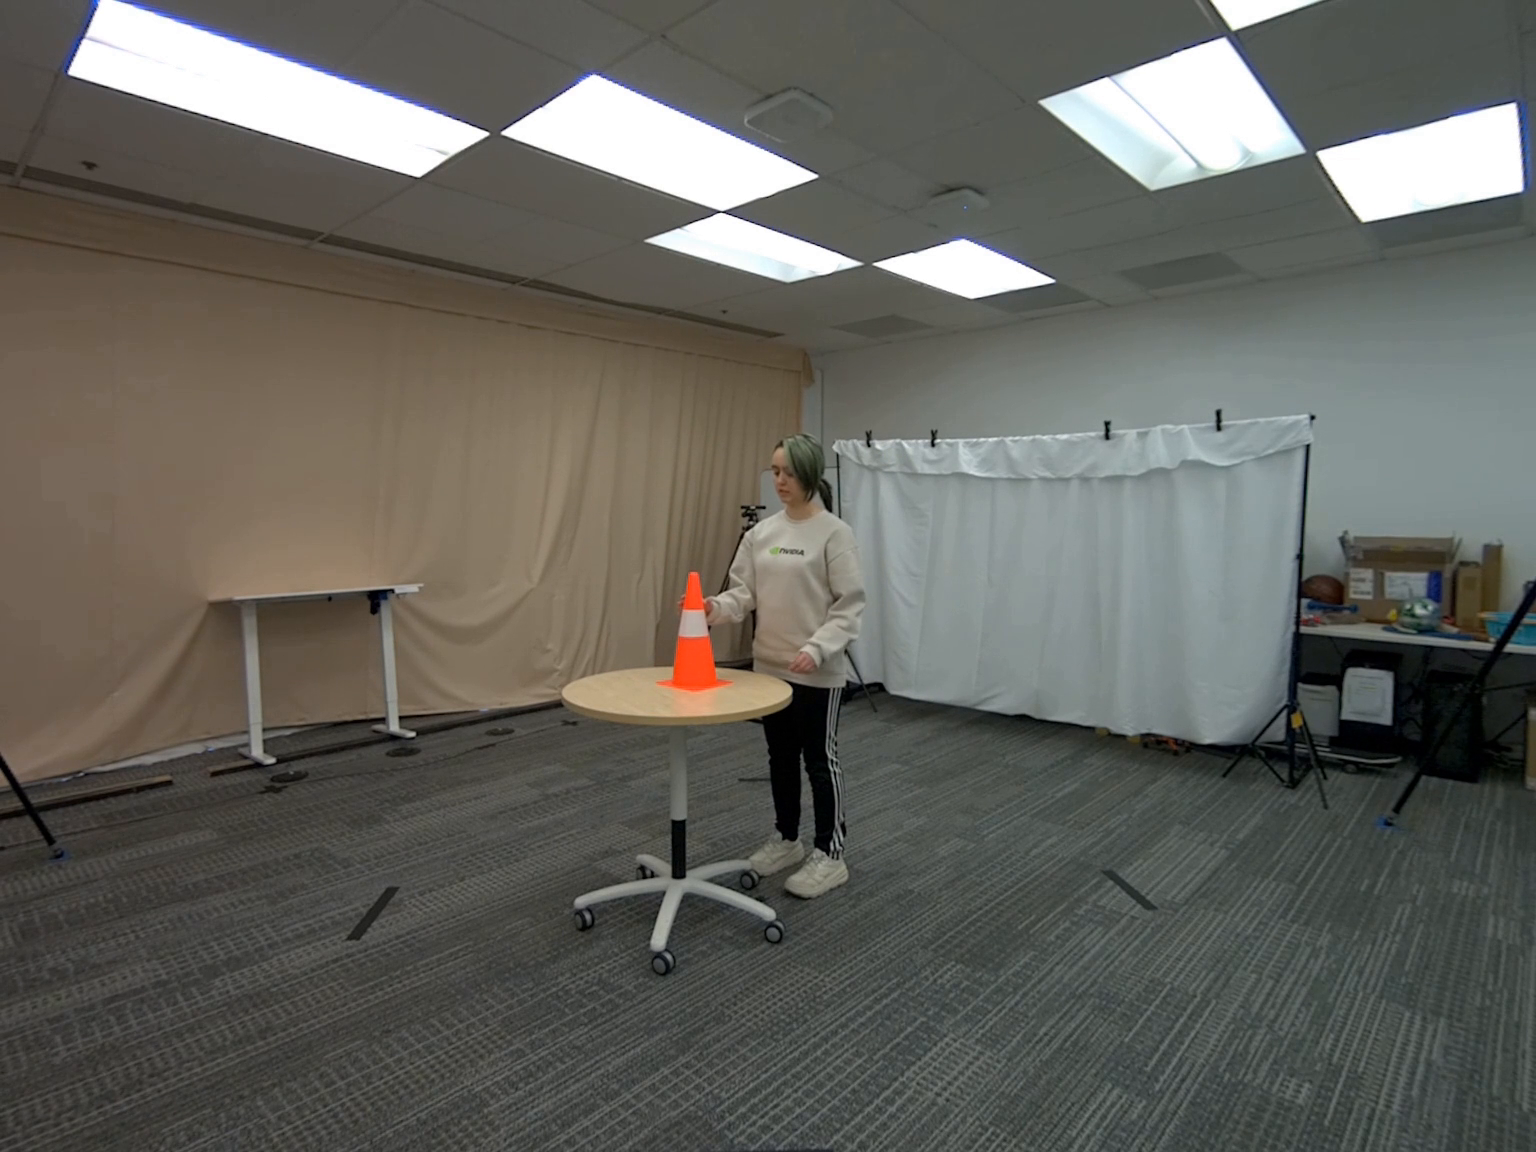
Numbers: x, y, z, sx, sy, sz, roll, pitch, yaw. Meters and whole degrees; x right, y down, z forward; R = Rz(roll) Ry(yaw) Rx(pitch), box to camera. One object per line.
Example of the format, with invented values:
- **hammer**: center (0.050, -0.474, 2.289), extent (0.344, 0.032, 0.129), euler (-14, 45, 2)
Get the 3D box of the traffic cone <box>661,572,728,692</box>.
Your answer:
- **traffic cone**: center (-0.254, 0.184, 2.898), extent (0.211, 0.383, 0.197), euler (-1, 2, 40)
